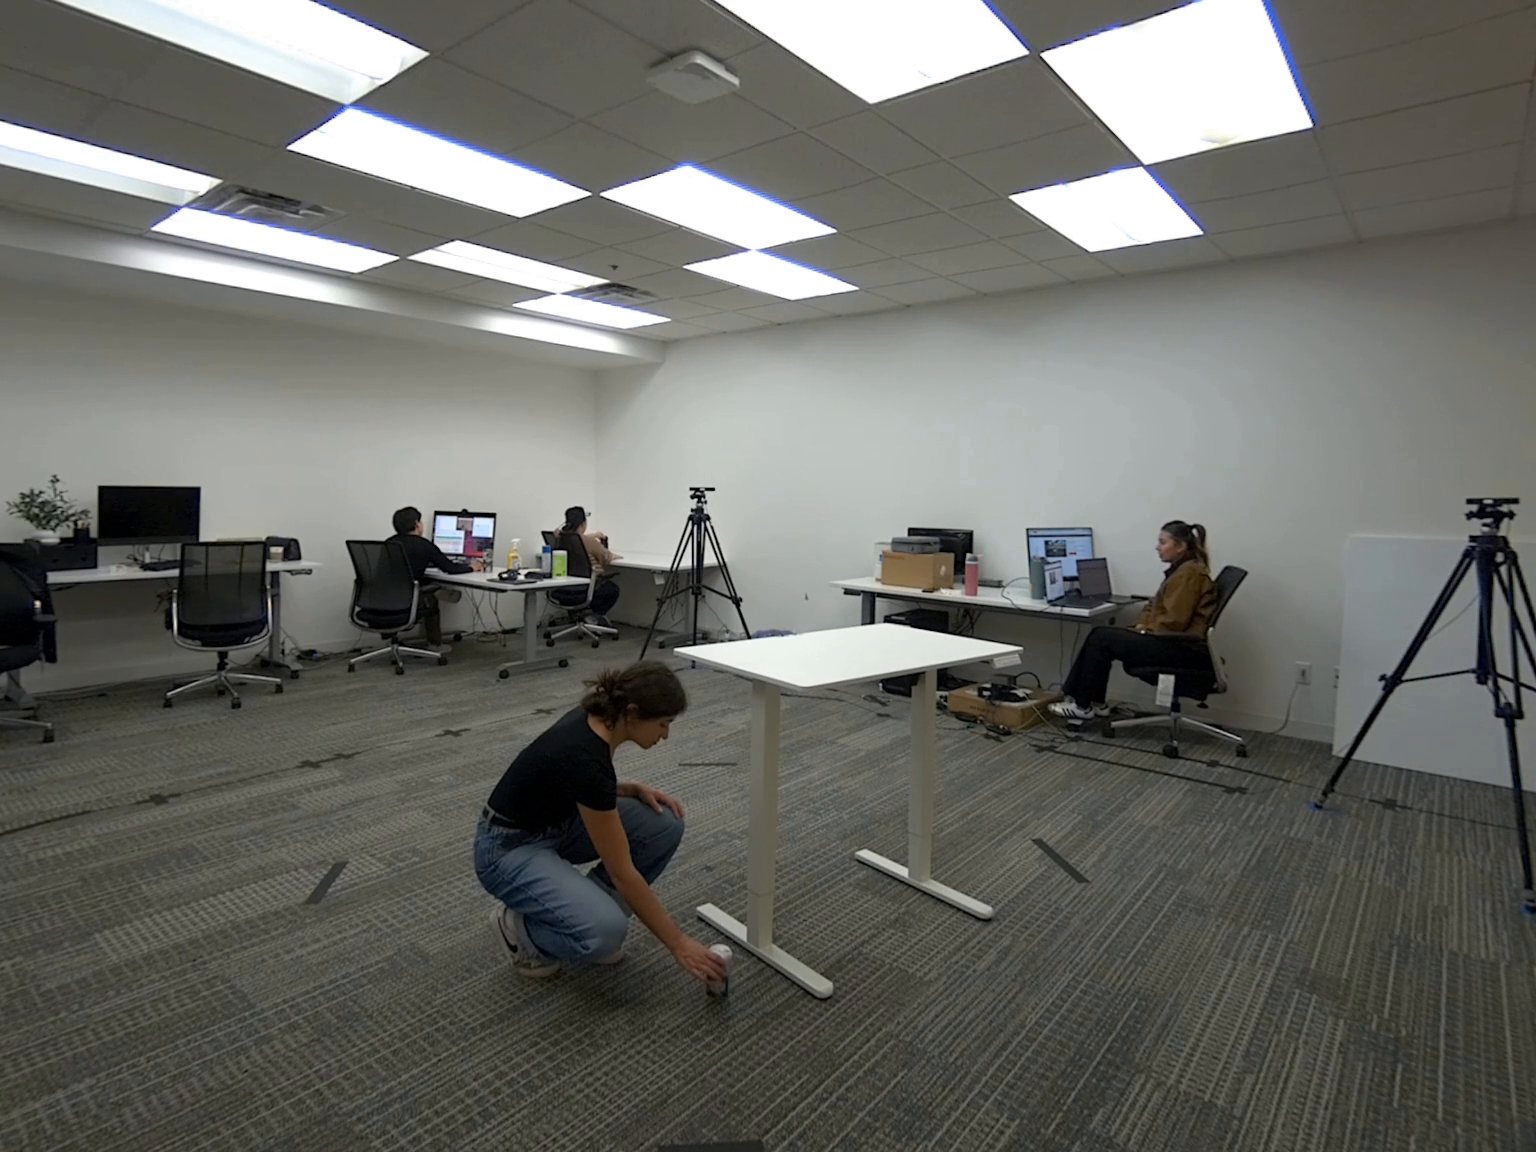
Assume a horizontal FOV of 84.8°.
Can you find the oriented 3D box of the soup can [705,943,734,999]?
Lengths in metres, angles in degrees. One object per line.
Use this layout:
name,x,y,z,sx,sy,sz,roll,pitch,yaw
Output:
soup can,-0.144,1.067,2.291,0.067,0.120,0.068,4,11,-3
